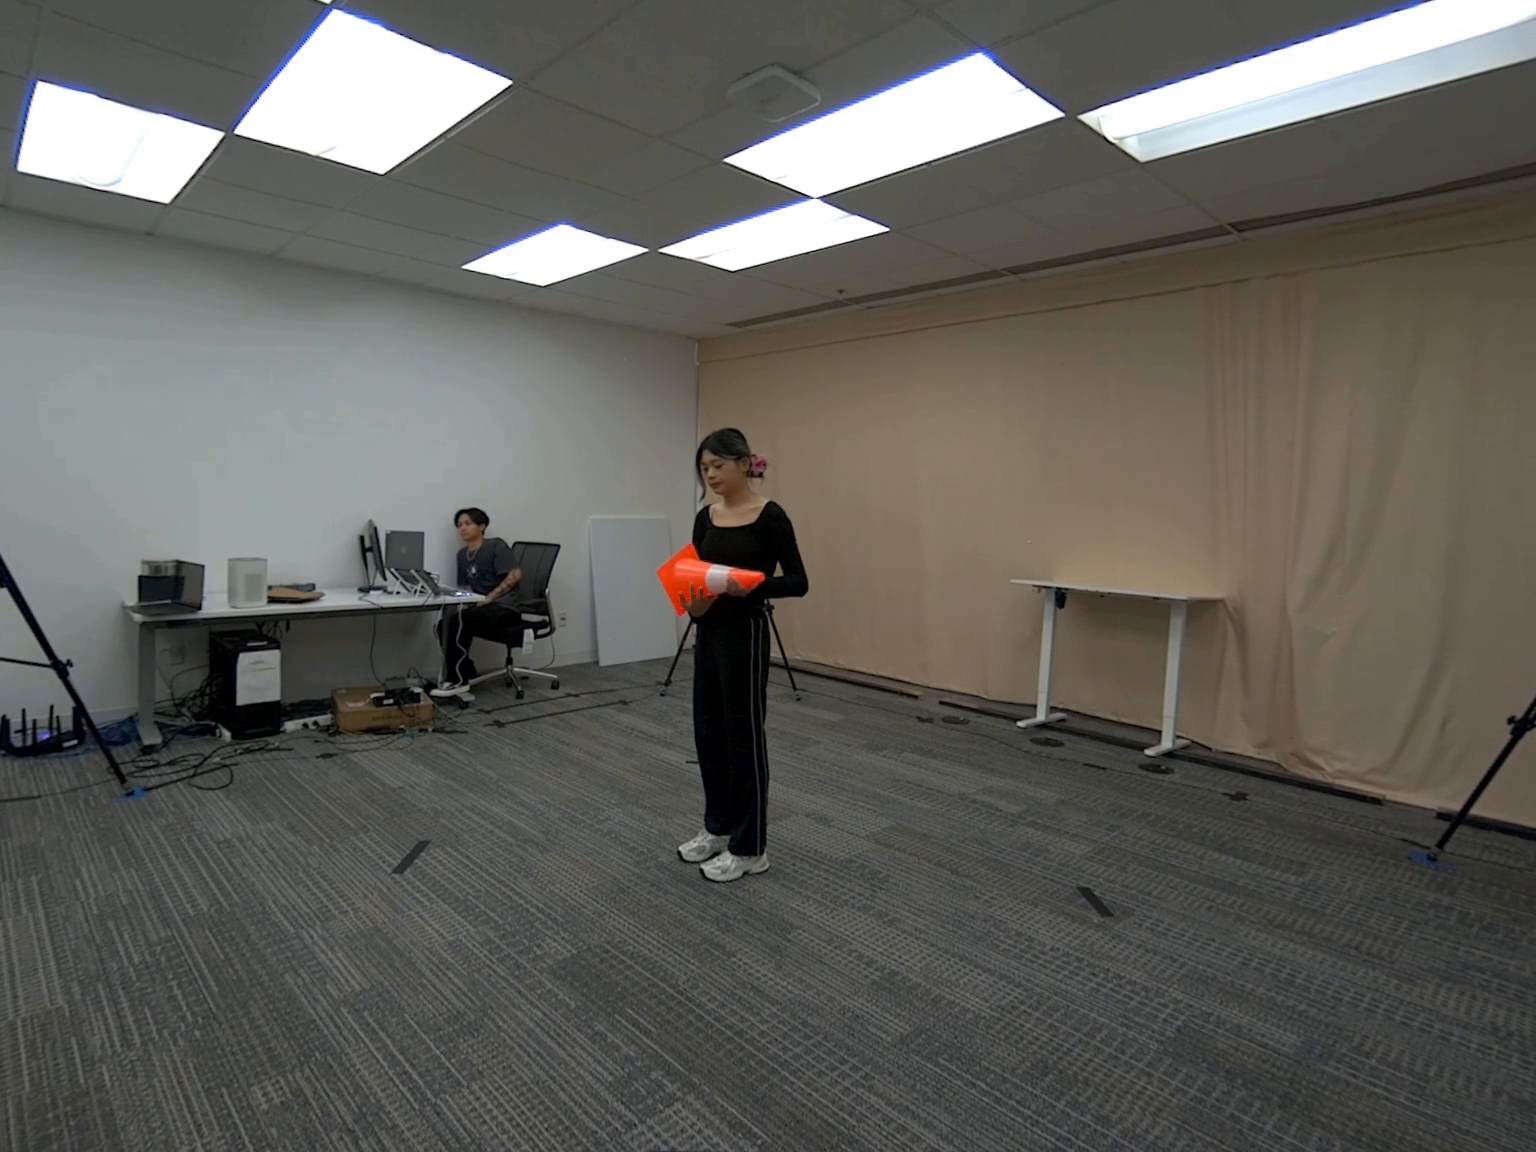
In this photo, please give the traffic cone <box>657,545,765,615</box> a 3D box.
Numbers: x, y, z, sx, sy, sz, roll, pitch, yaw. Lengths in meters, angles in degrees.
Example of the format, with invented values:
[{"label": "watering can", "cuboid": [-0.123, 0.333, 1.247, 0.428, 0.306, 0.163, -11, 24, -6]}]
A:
[{"label": "traffic cone", "cuboid": [-0.164, 0.011, 2.886, 0.392, 0.199, 0.204, -2, 32, 43]}]
